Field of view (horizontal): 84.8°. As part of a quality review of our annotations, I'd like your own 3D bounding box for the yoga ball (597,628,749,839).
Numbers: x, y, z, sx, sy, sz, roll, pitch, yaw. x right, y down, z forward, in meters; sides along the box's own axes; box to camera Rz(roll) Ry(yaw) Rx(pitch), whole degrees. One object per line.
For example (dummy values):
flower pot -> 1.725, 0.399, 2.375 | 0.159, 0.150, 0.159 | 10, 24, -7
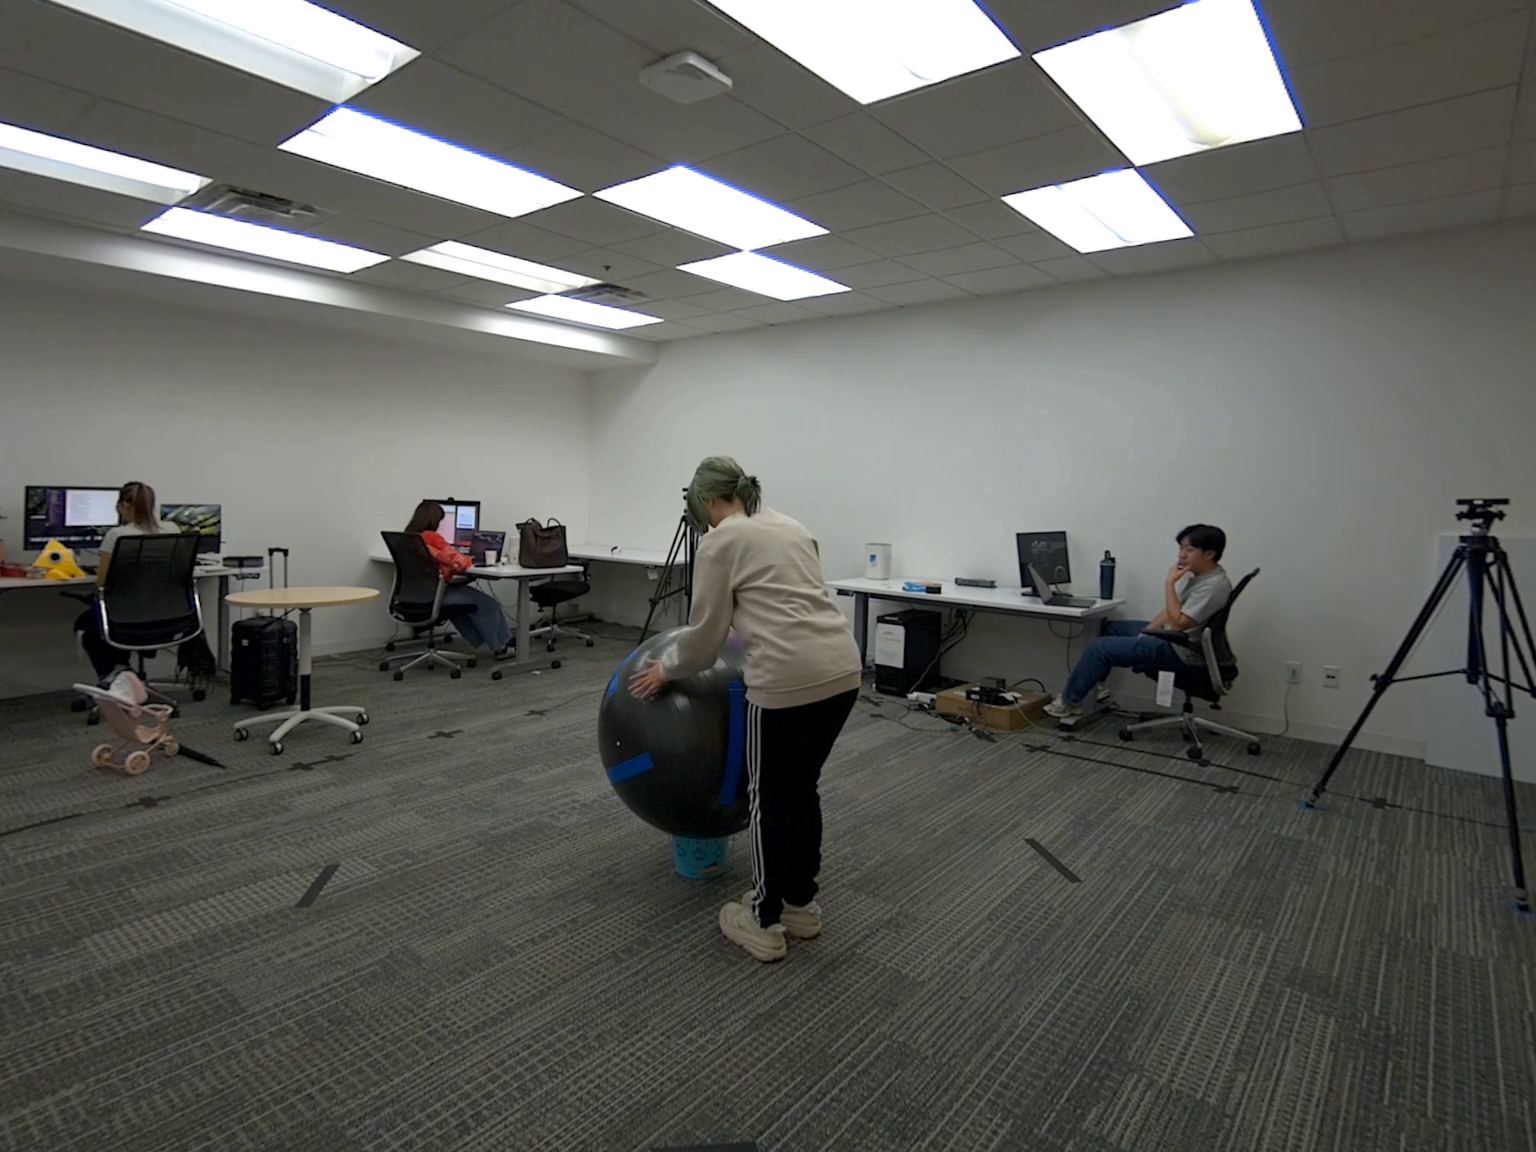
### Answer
yoga ball -> -0.250, 0.558, 3.109 | 0.757, 0.755, 0.762 | 1, 4, -2
